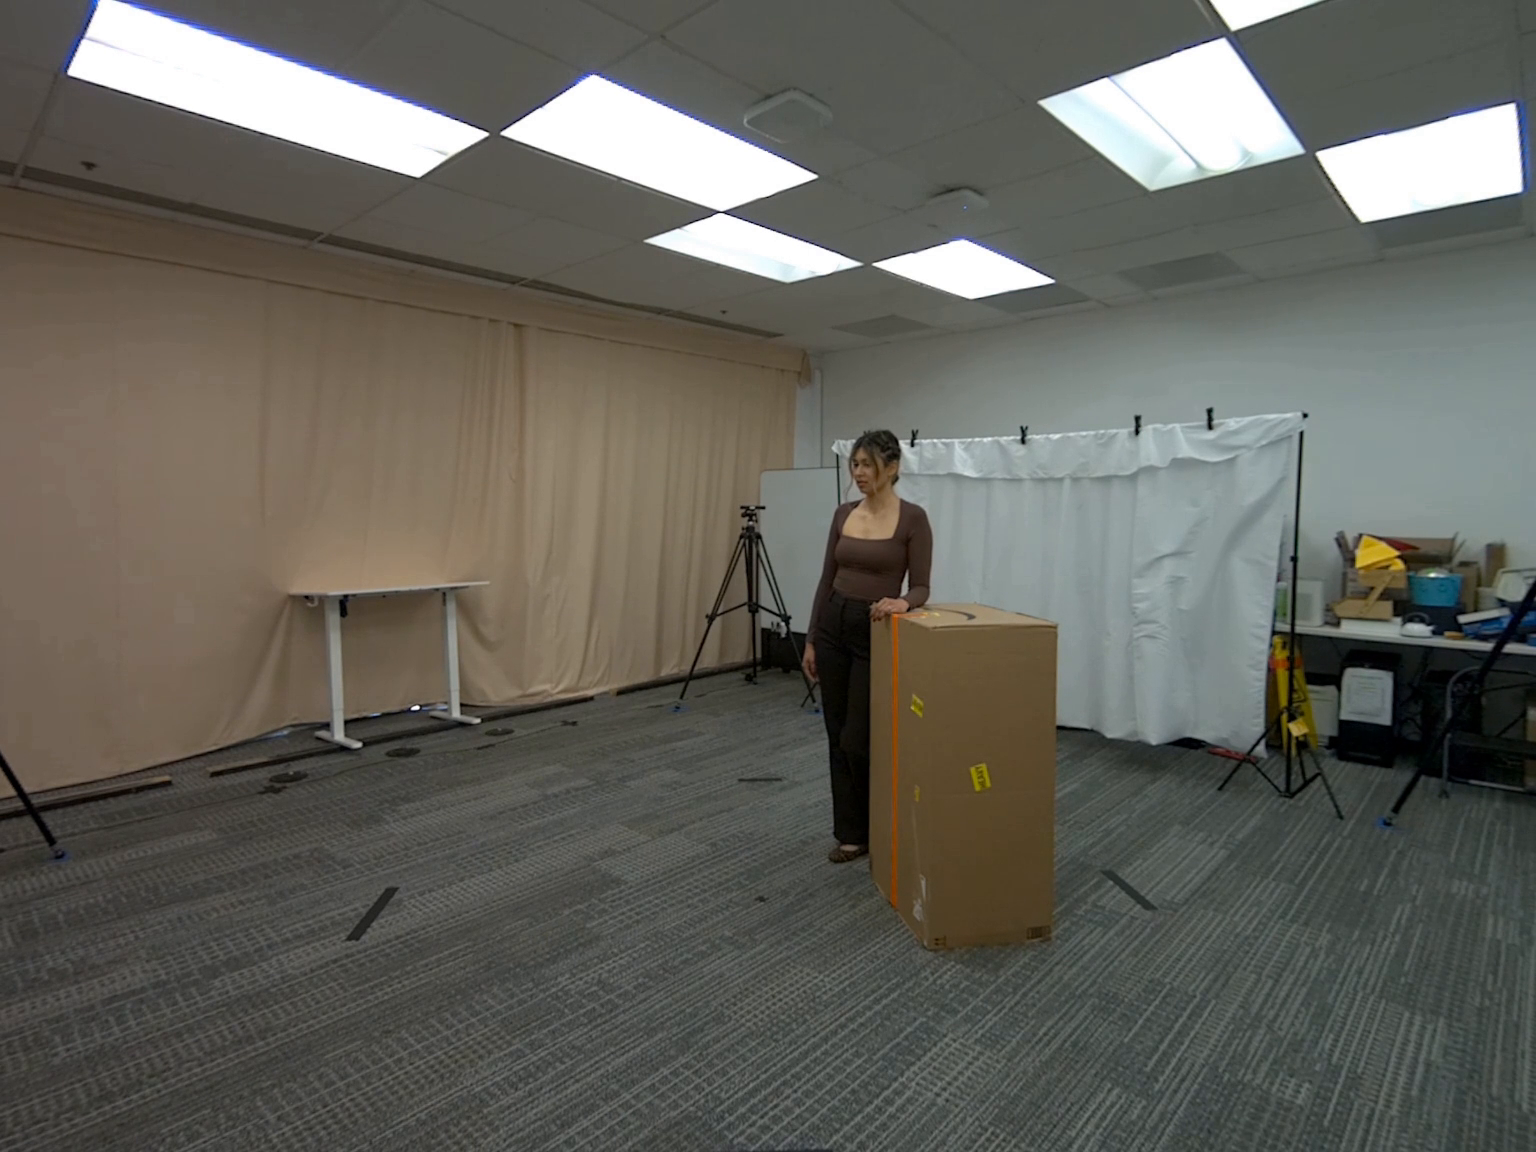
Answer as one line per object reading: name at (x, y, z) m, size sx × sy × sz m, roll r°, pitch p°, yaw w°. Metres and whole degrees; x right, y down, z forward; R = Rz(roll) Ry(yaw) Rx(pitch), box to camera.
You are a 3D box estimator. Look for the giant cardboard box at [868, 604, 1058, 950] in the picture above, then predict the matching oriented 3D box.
giant cardboard box at (0.652, 0.640, 2.911) m, size 0.442 × 1.025 × 0.592 m, roll -1°, pitch 3°, yaw -11°
